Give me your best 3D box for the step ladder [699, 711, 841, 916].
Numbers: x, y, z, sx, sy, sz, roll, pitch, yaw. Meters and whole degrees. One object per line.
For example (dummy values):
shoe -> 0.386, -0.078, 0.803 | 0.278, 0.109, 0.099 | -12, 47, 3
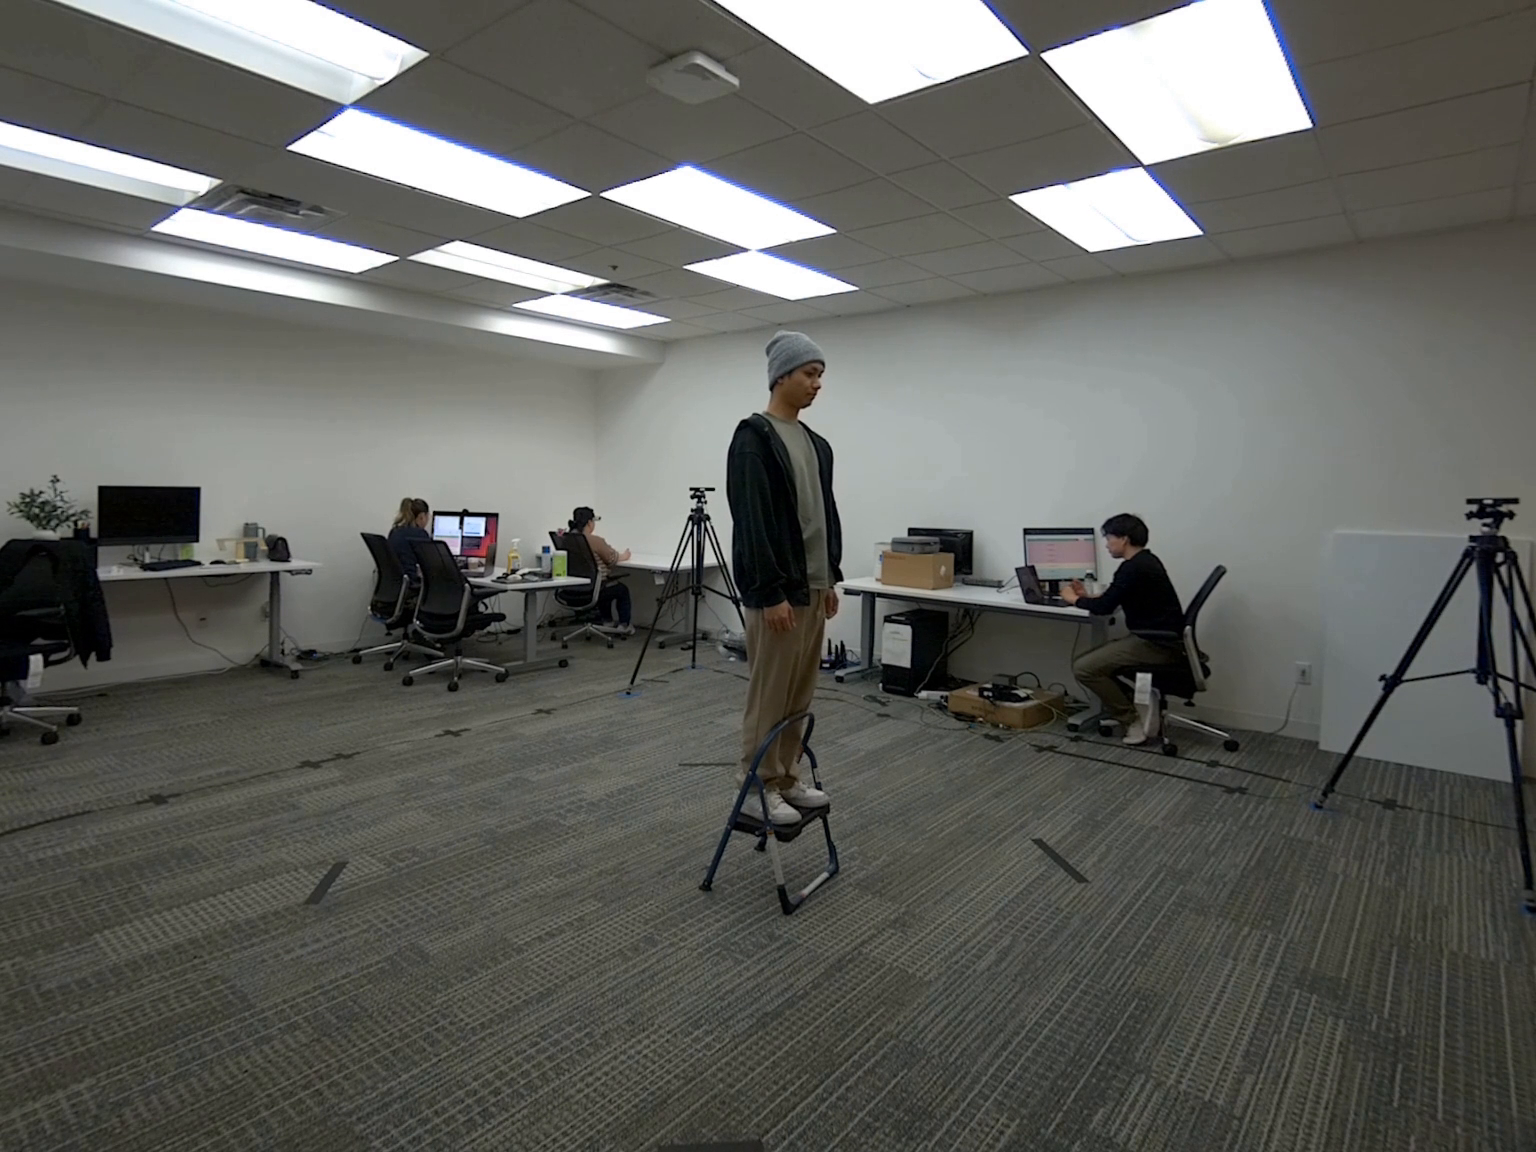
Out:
step ladder -> 0.017, 0.777, 3.016 | 0.359, 0.604, 0.420 | 4, 5, 29
